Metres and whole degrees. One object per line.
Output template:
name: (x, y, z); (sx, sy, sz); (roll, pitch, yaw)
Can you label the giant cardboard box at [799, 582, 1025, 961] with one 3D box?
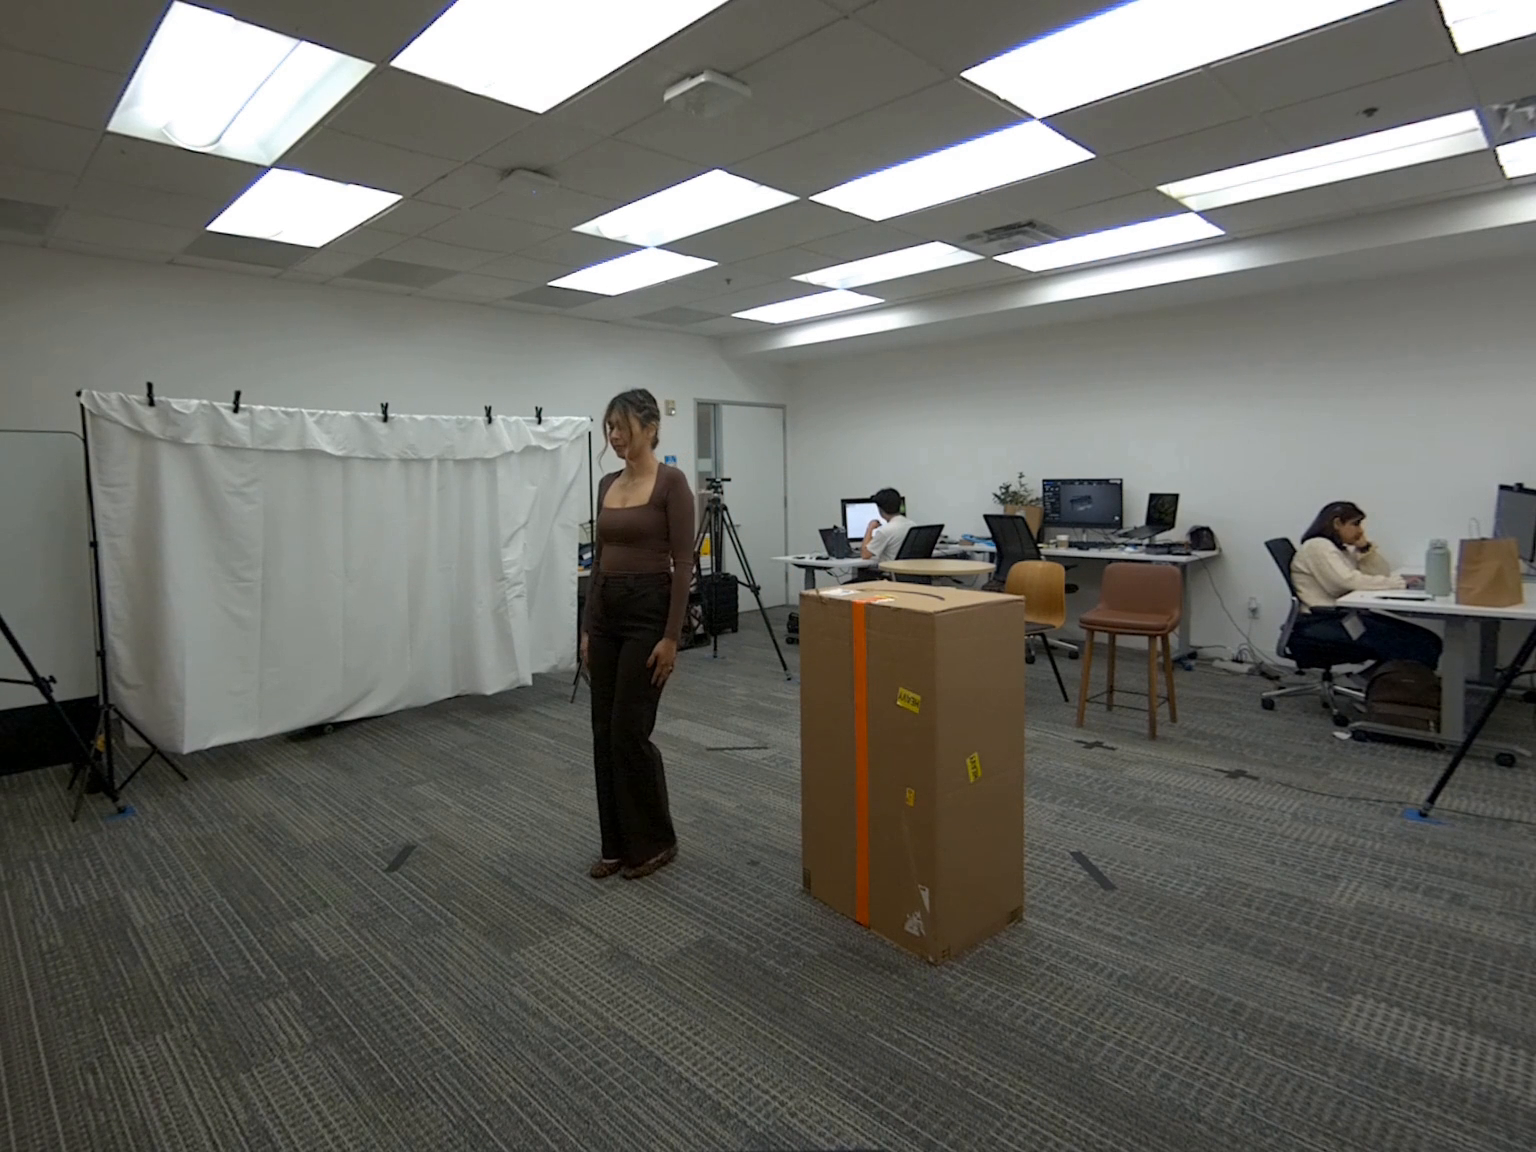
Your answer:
giant cardboard box: (0.454, 0.565, 2.743); (0.435, 1.023, 0.601); (-5, 5, -36)
